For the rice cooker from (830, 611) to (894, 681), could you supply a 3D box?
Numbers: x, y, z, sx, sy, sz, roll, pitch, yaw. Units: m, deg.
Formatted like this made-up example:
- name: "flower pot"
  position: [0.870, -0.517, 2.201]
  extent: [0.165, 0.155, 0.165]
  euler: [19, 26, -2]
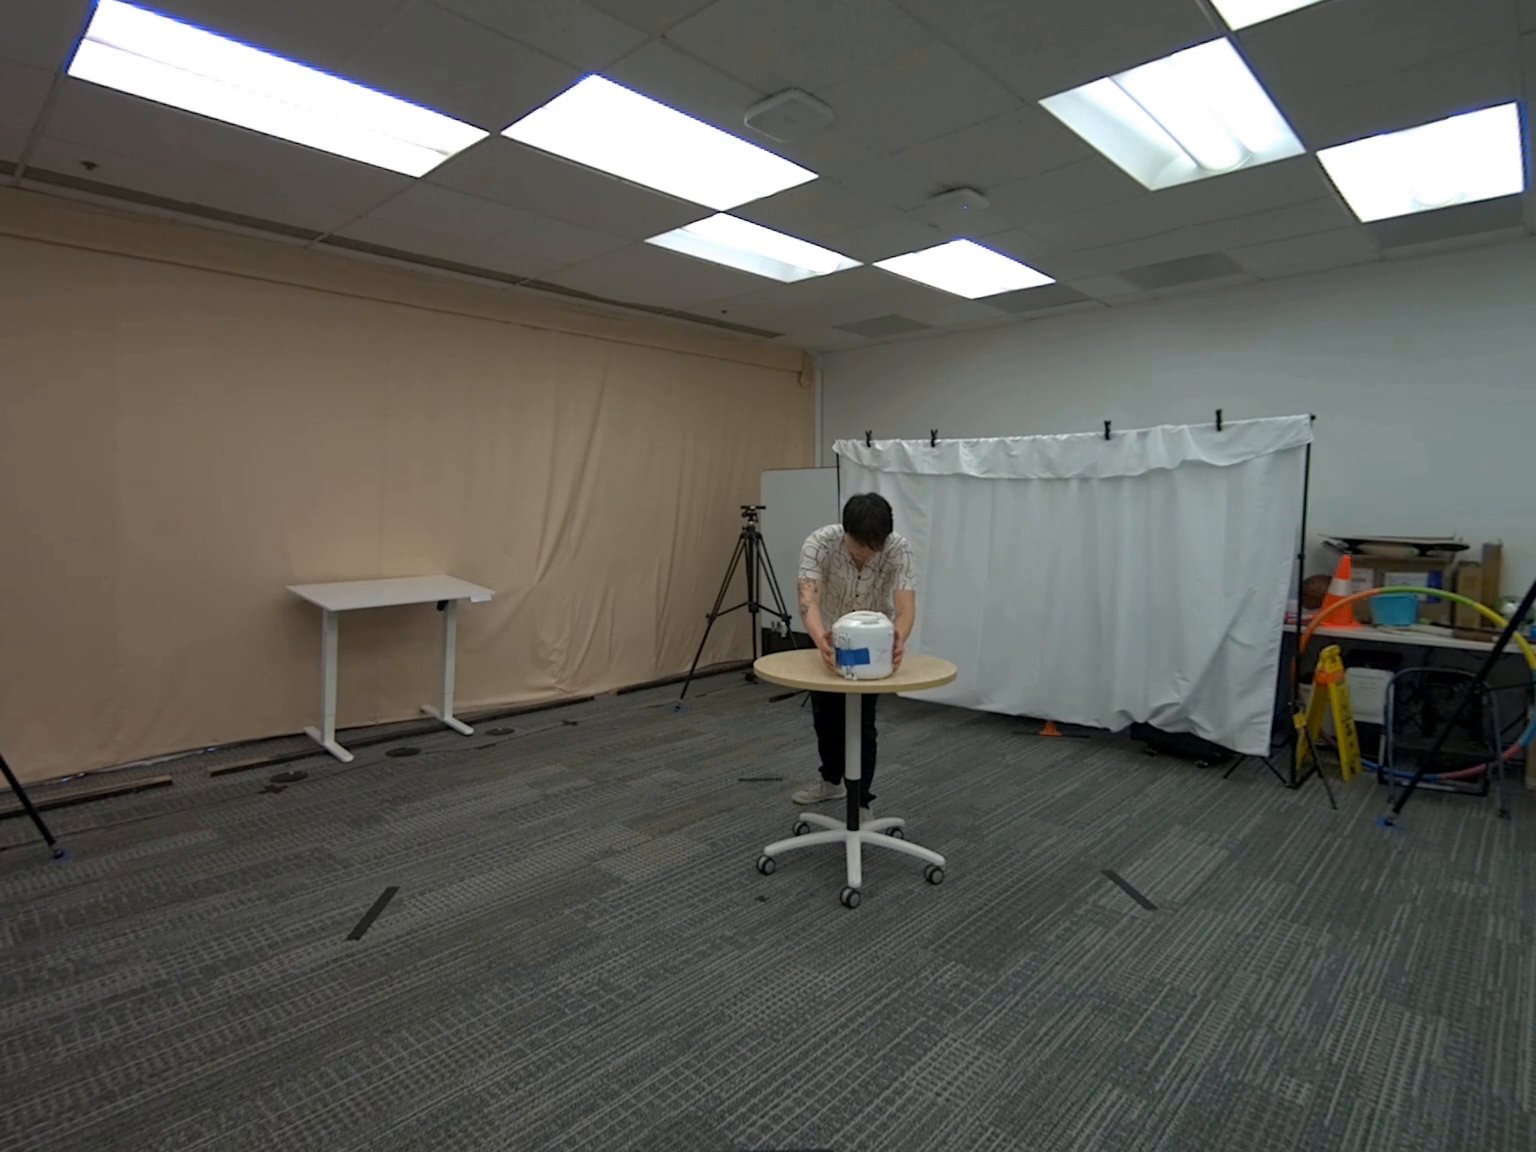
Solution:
- name: "rice cooker"
  position: [0.338, 0.240, 3.009]
  extent: [0.219, 0.232, 0.219]
  euler: [0, 5, -5]
